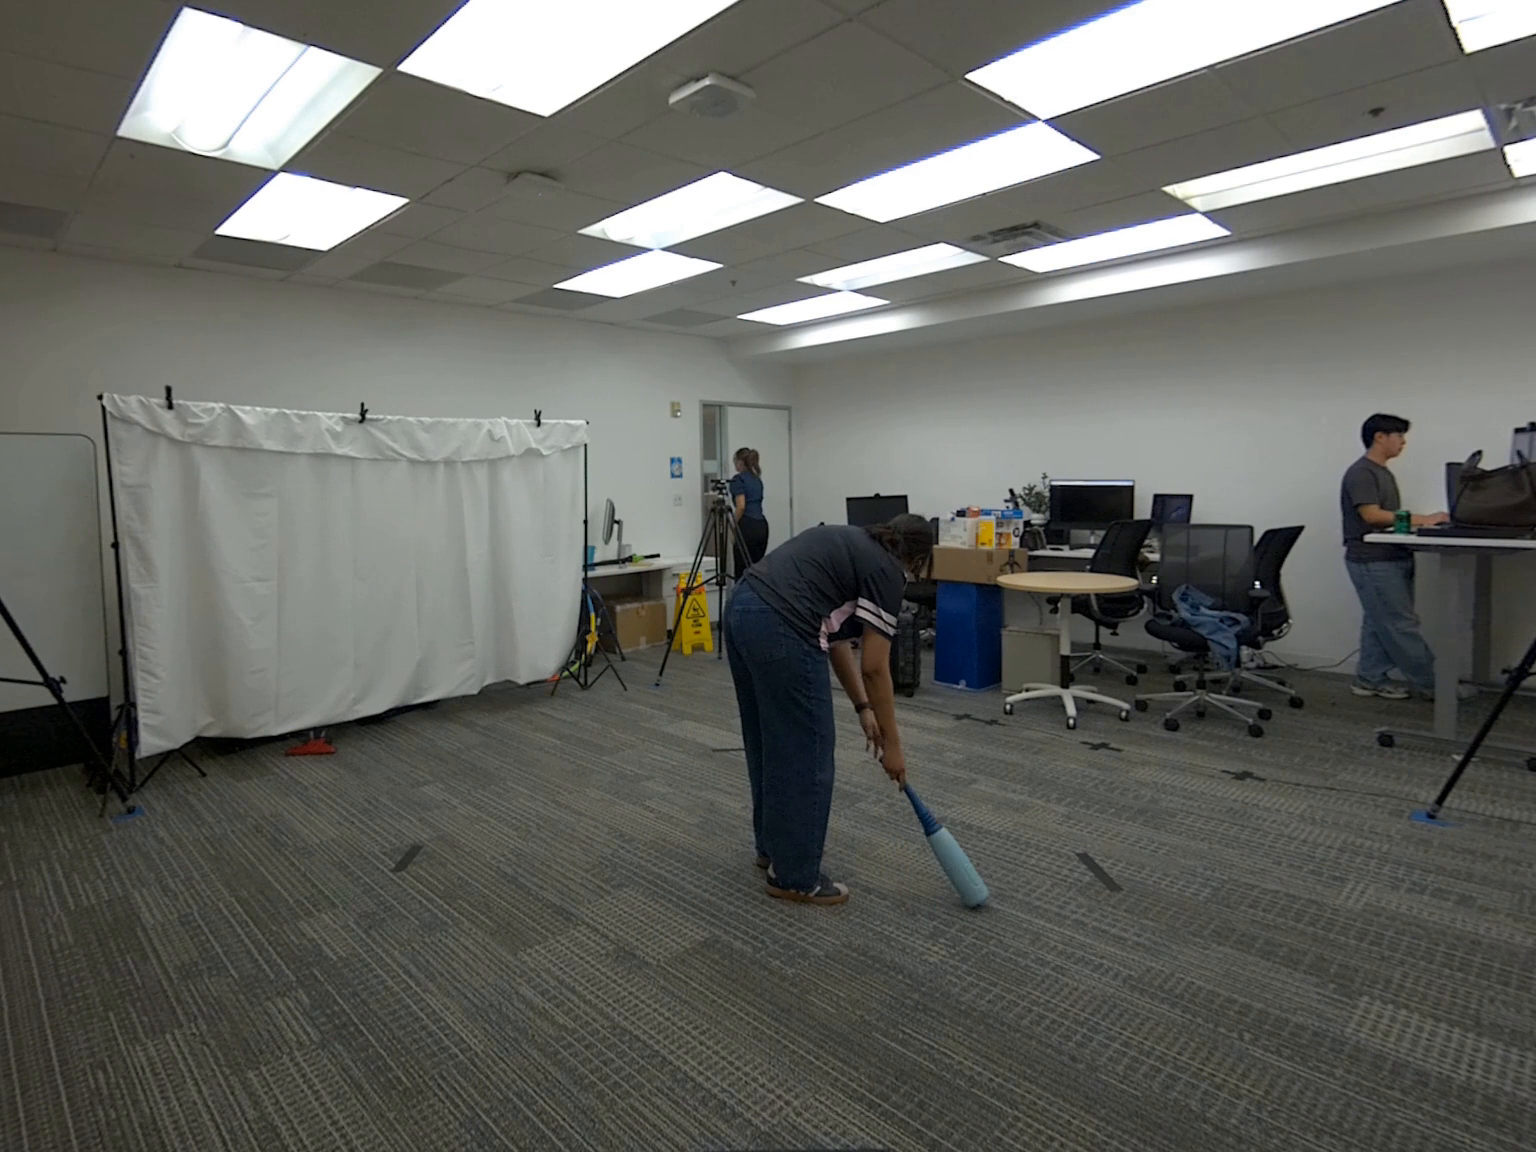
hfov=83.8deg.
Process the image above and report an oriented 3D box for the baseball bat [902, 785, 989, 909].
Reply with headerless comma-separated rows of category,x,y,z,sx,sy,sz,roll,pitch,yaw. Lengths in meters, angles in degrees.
baseball bat,0.532,0.832,2.839,0.088,0.555,0.087,-30,-17,-11
